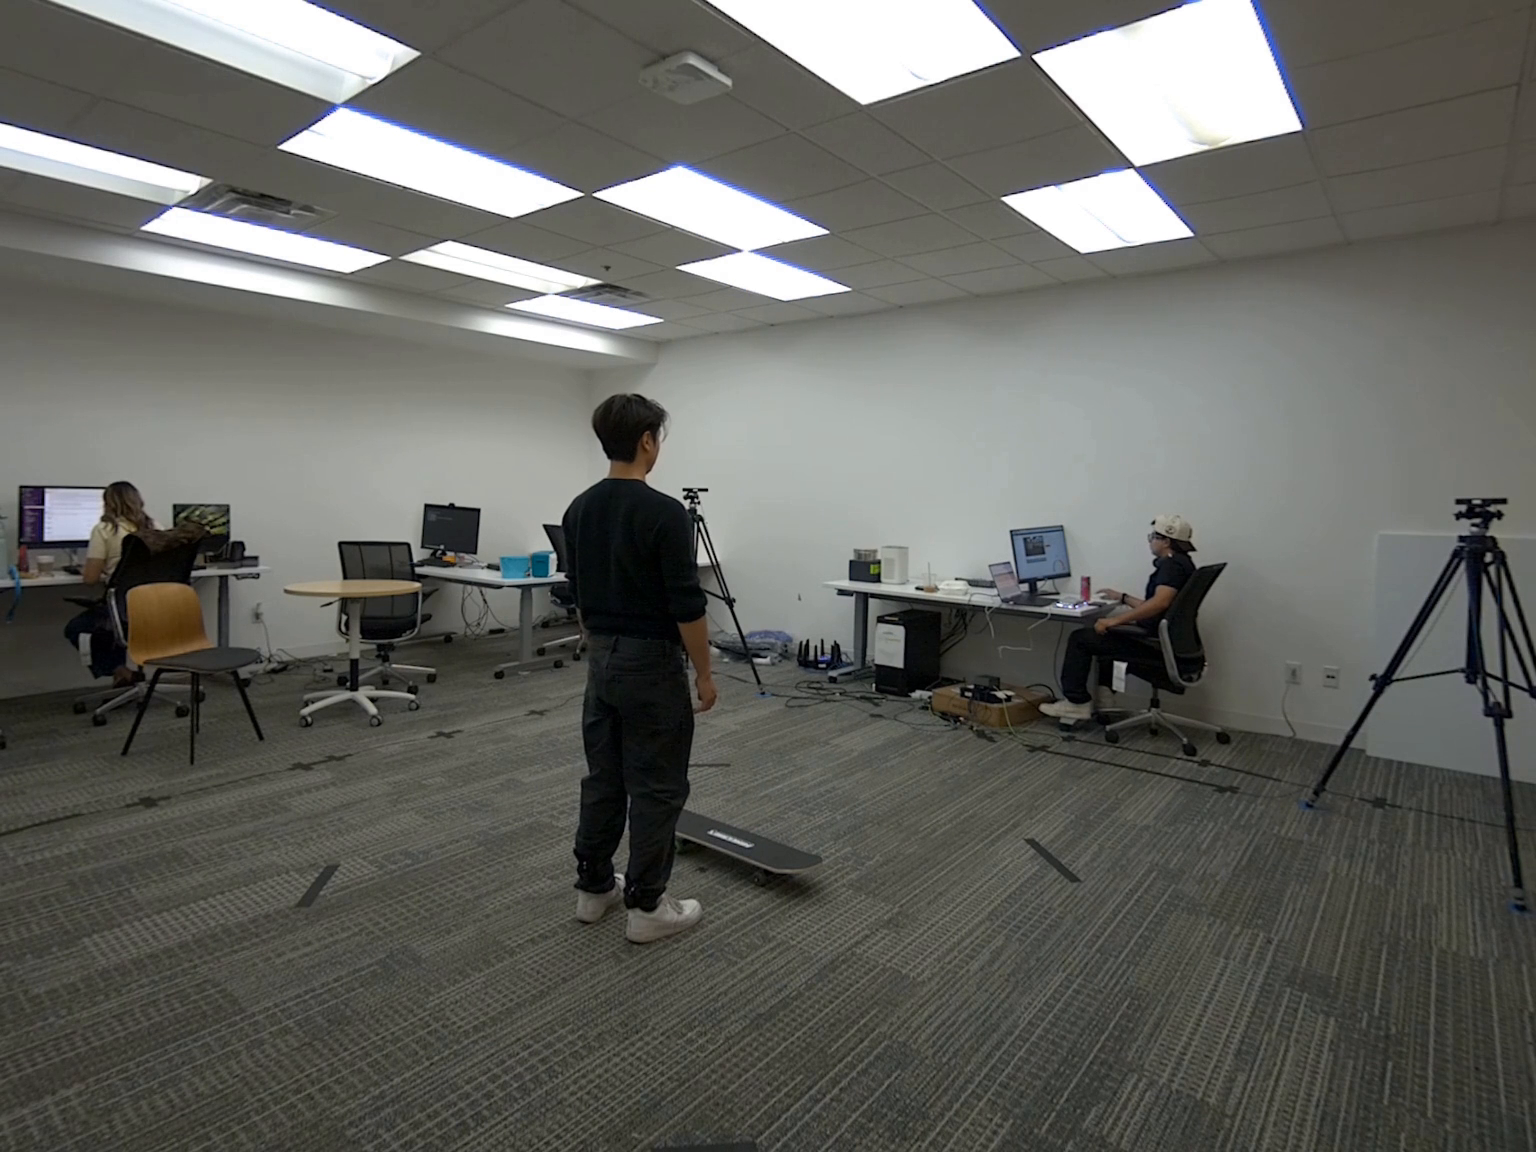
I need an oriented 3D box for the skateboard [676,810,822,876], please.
[{"bbox_3d":[-0.148,1.005,3.178,0.812,0.110,0.188,6,7,38],"label":"skateboard"}]
